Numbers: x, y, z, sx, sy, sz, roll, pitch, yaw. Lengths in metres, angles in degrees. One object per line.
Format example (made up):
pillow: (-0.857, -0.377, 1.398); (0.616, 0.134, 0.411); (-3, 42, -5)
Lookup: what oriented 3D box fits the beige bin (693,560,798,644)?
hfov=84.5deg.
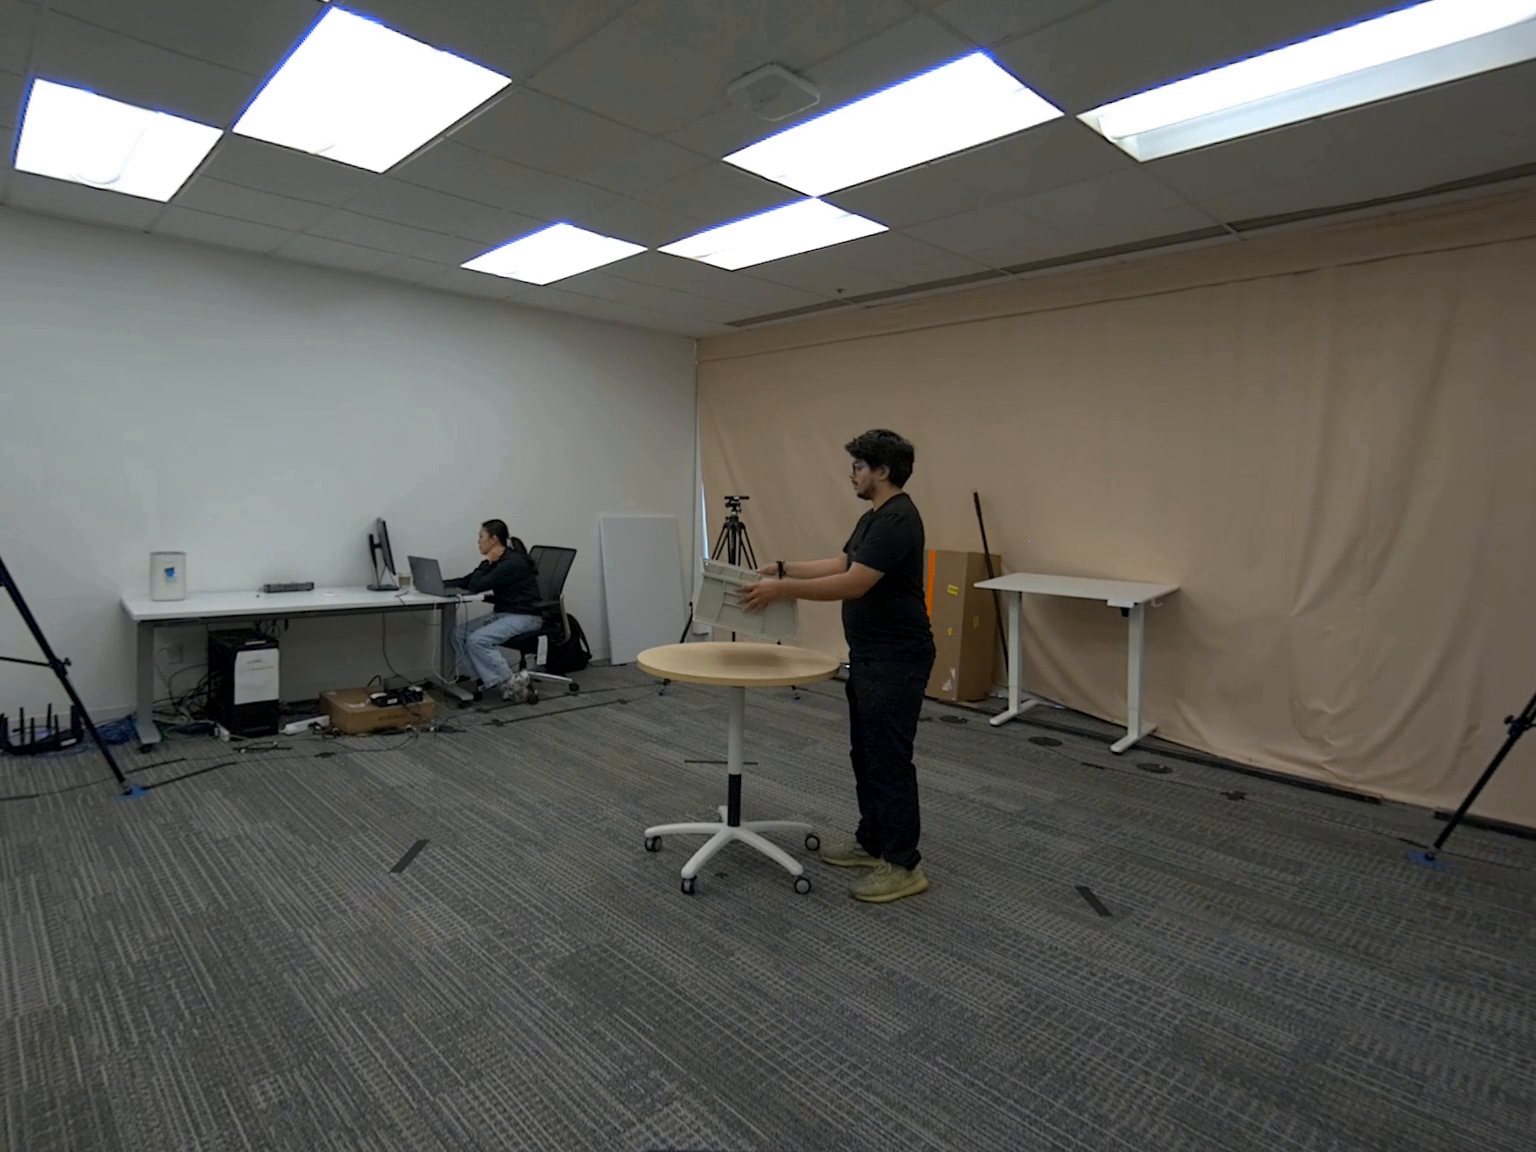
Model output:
beige bin: (-0.096, 0.092, 3.151); (0.376, 0.188, 0.426); (12, 10, -5)
